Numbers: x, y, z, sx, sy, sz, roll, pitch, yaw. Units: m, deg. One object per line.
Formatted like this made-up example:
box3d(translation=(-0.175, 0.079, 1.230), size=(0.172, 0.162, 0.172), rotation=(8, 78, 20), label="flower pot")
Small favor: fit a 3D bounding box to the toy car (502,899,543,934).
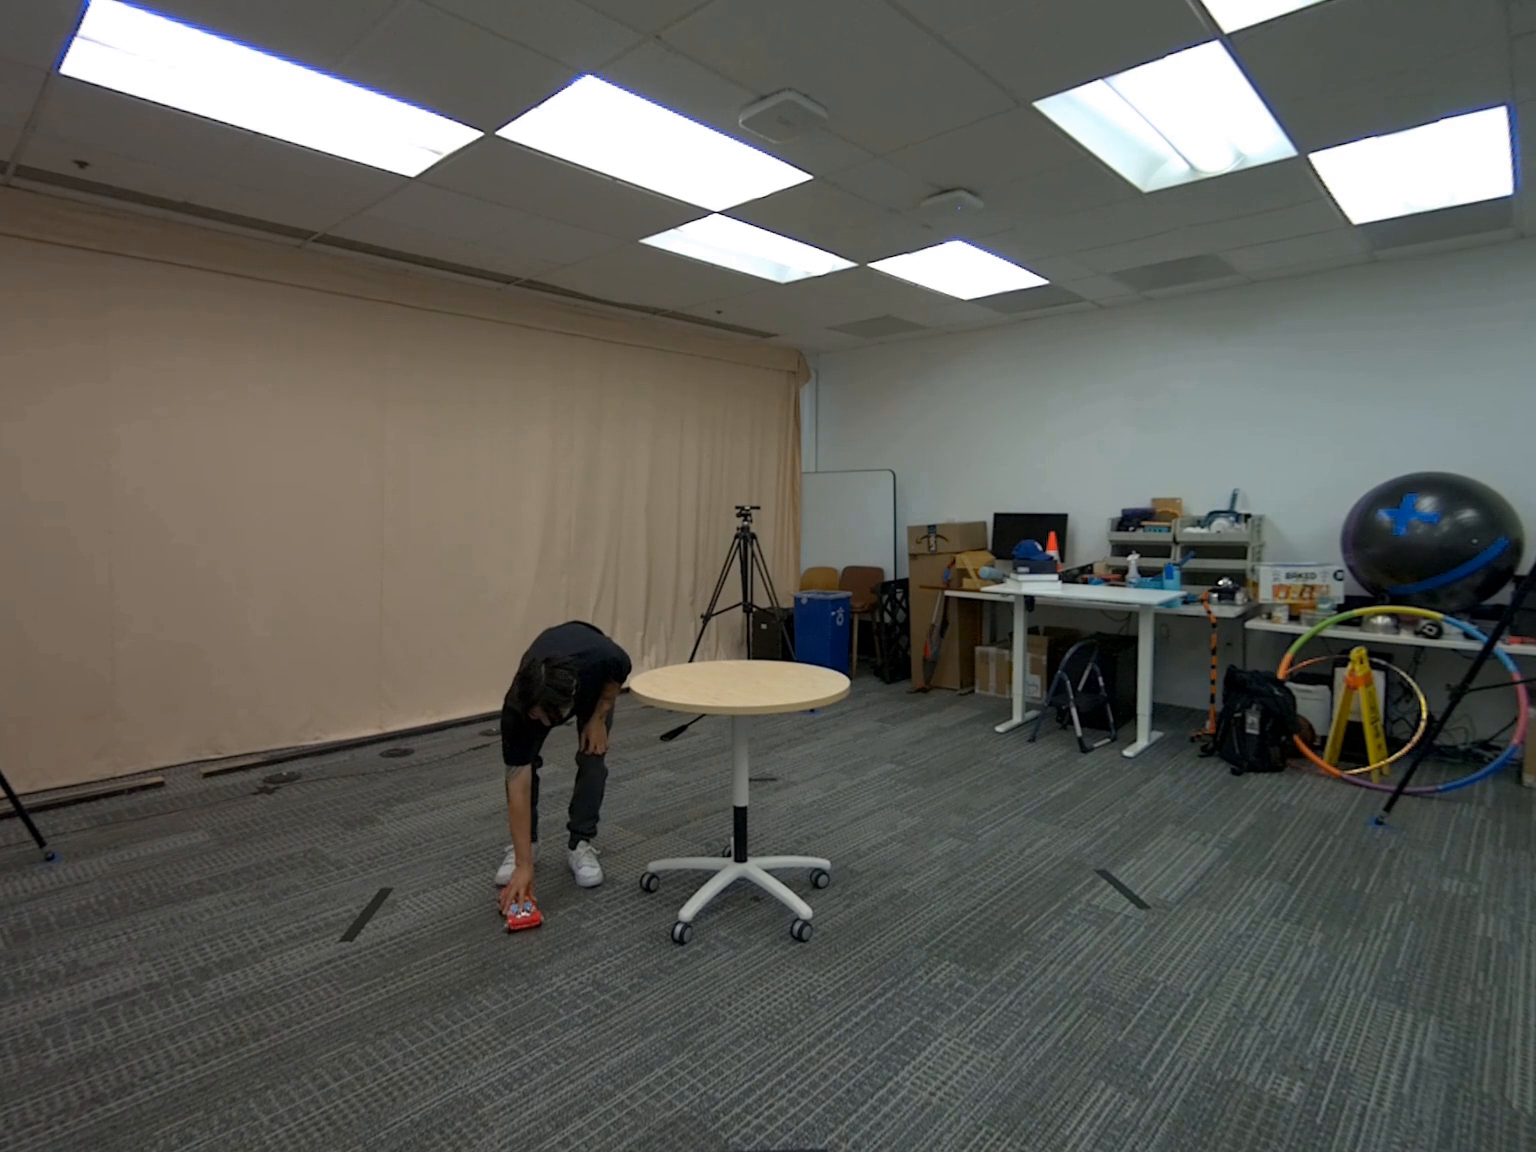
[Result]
box3d(translation=(-0.849, 1.129, 2.866), size=(0.127, 0.082, 0.262), rotation=(-3, 15, -25), label="toy car")
